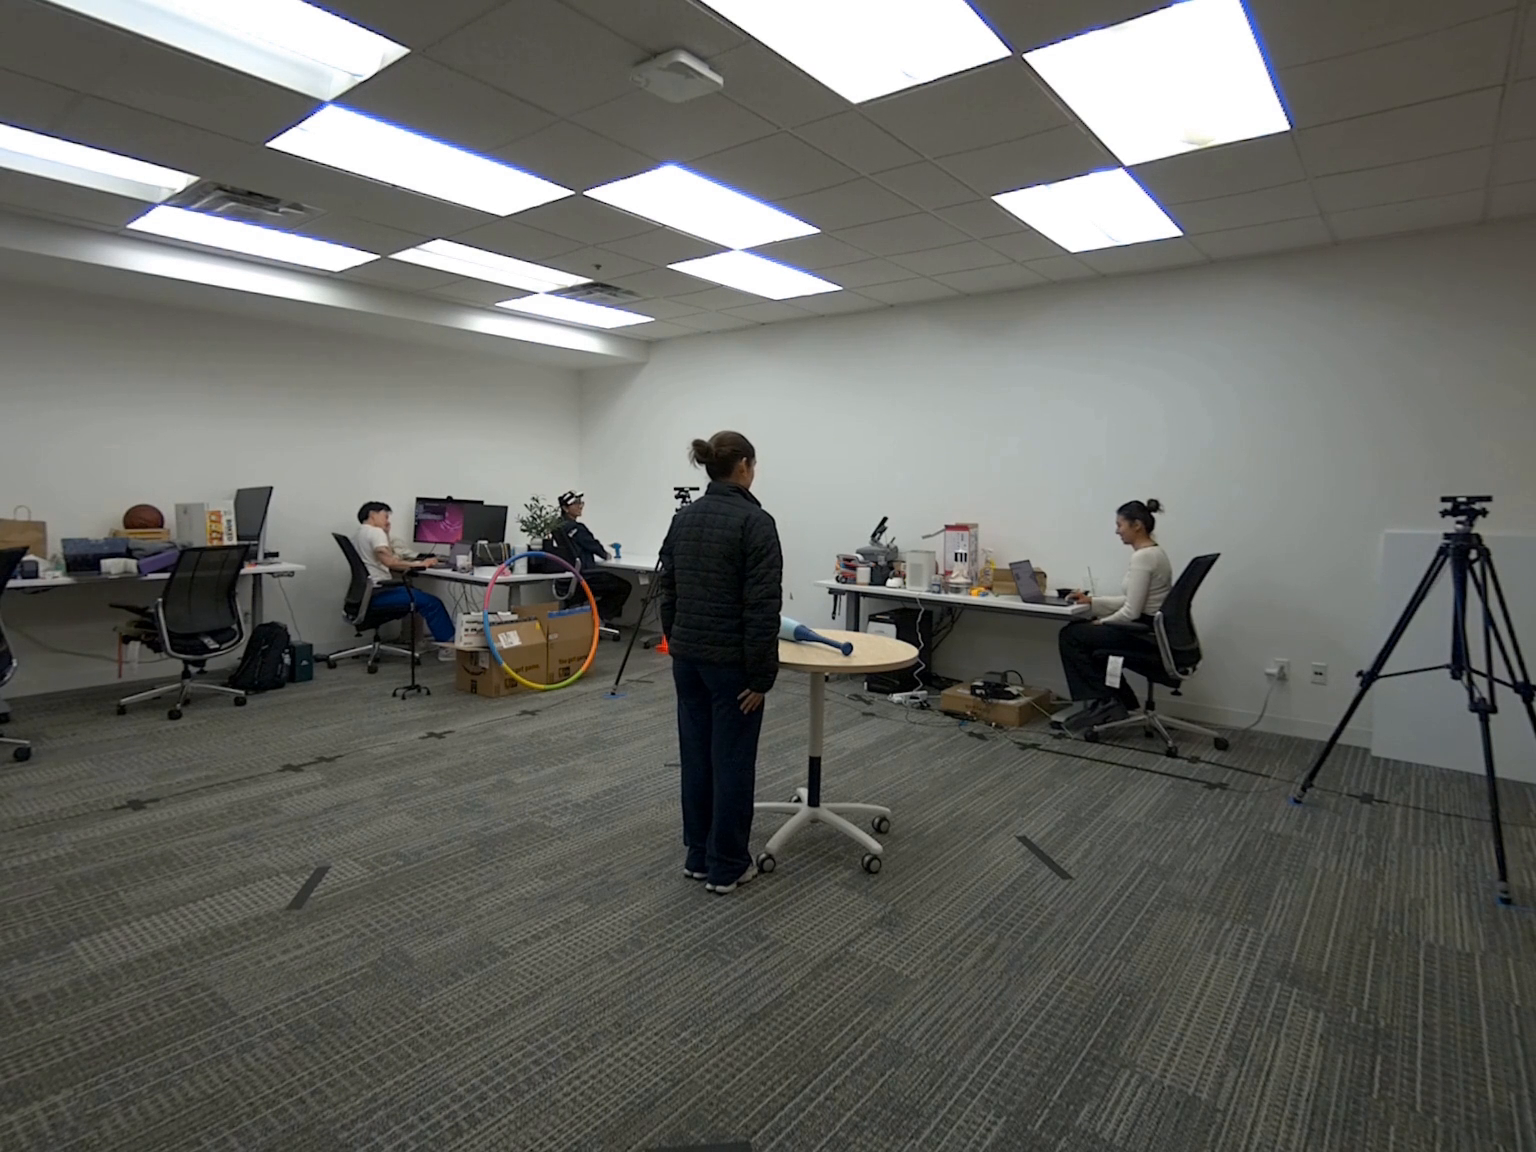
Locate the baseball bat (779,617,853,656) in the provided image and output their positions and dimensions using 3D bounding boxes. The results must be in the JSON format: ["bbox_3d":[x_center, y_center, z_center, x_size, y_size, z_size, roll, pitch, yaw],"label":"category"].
[{"bbox_3d":[0.161,0.228,3.364,0.086,0.088,0.562,-2,9,-34],"label":"baseball bat"}]
